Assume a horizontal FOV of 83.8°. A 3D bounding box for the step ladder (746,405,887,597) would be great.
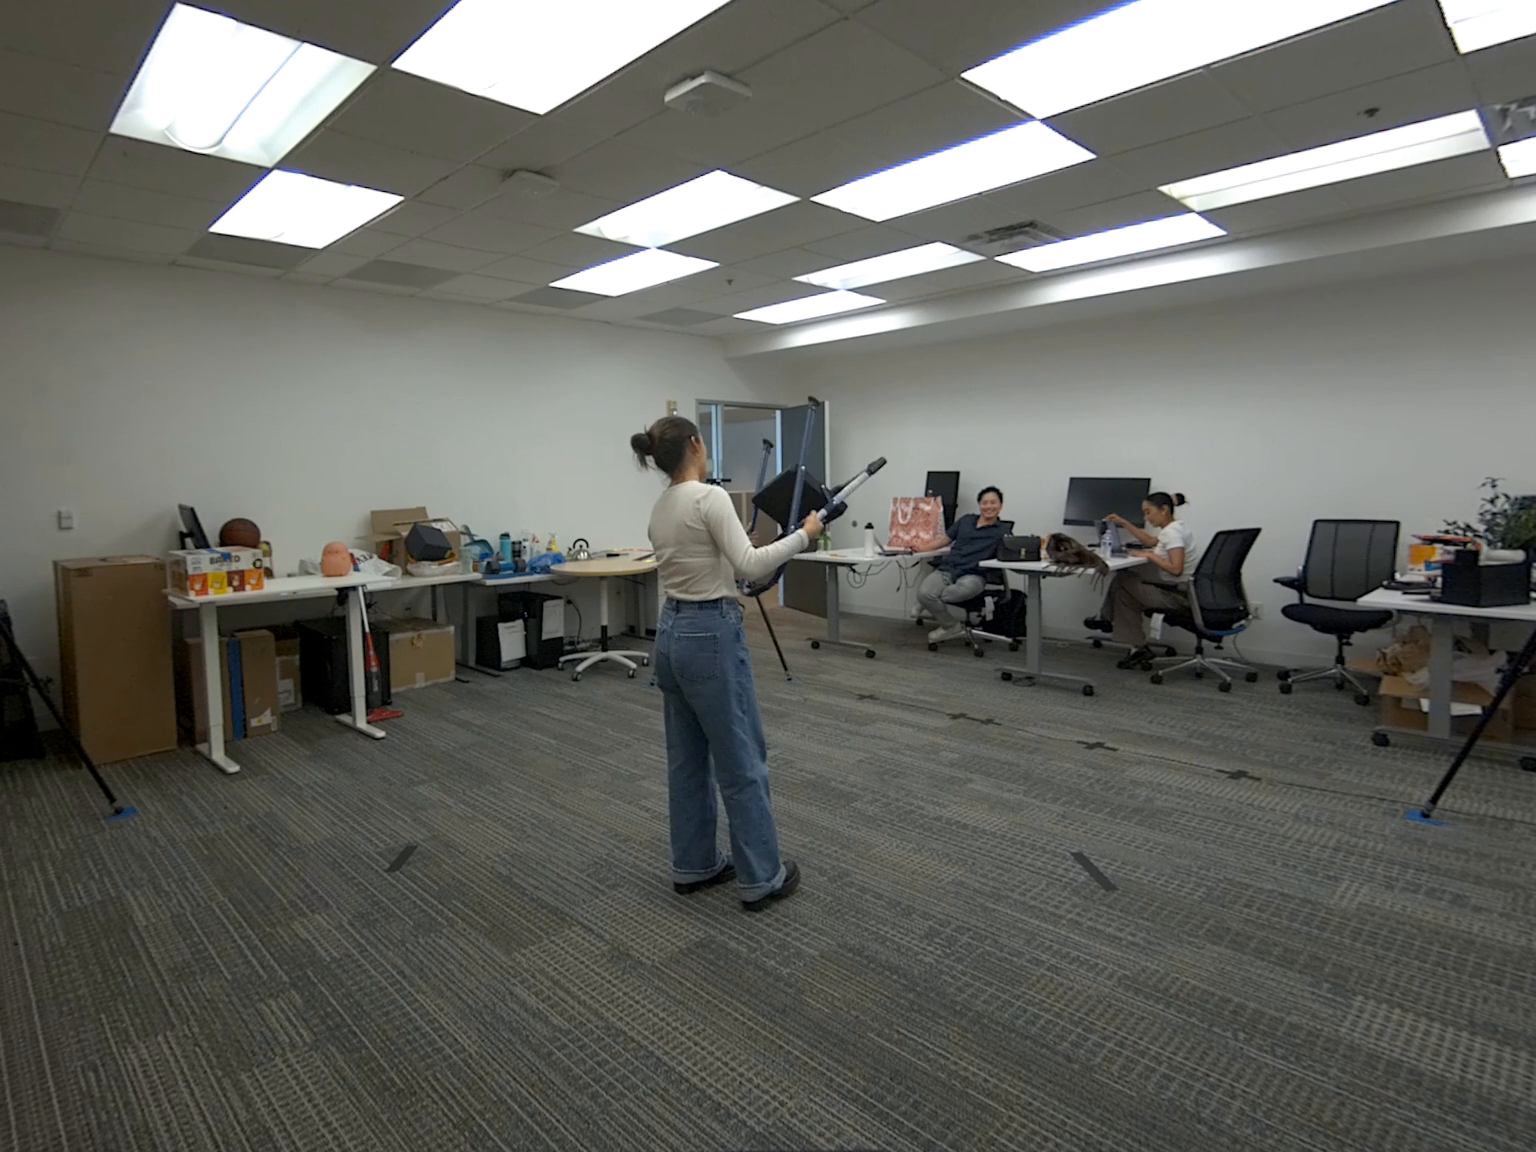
[{"bbox_3d":[0.055,-0.221,2.981,0.345,0.608,0.433,38,-24,-9],"label":"step ladder"}]
